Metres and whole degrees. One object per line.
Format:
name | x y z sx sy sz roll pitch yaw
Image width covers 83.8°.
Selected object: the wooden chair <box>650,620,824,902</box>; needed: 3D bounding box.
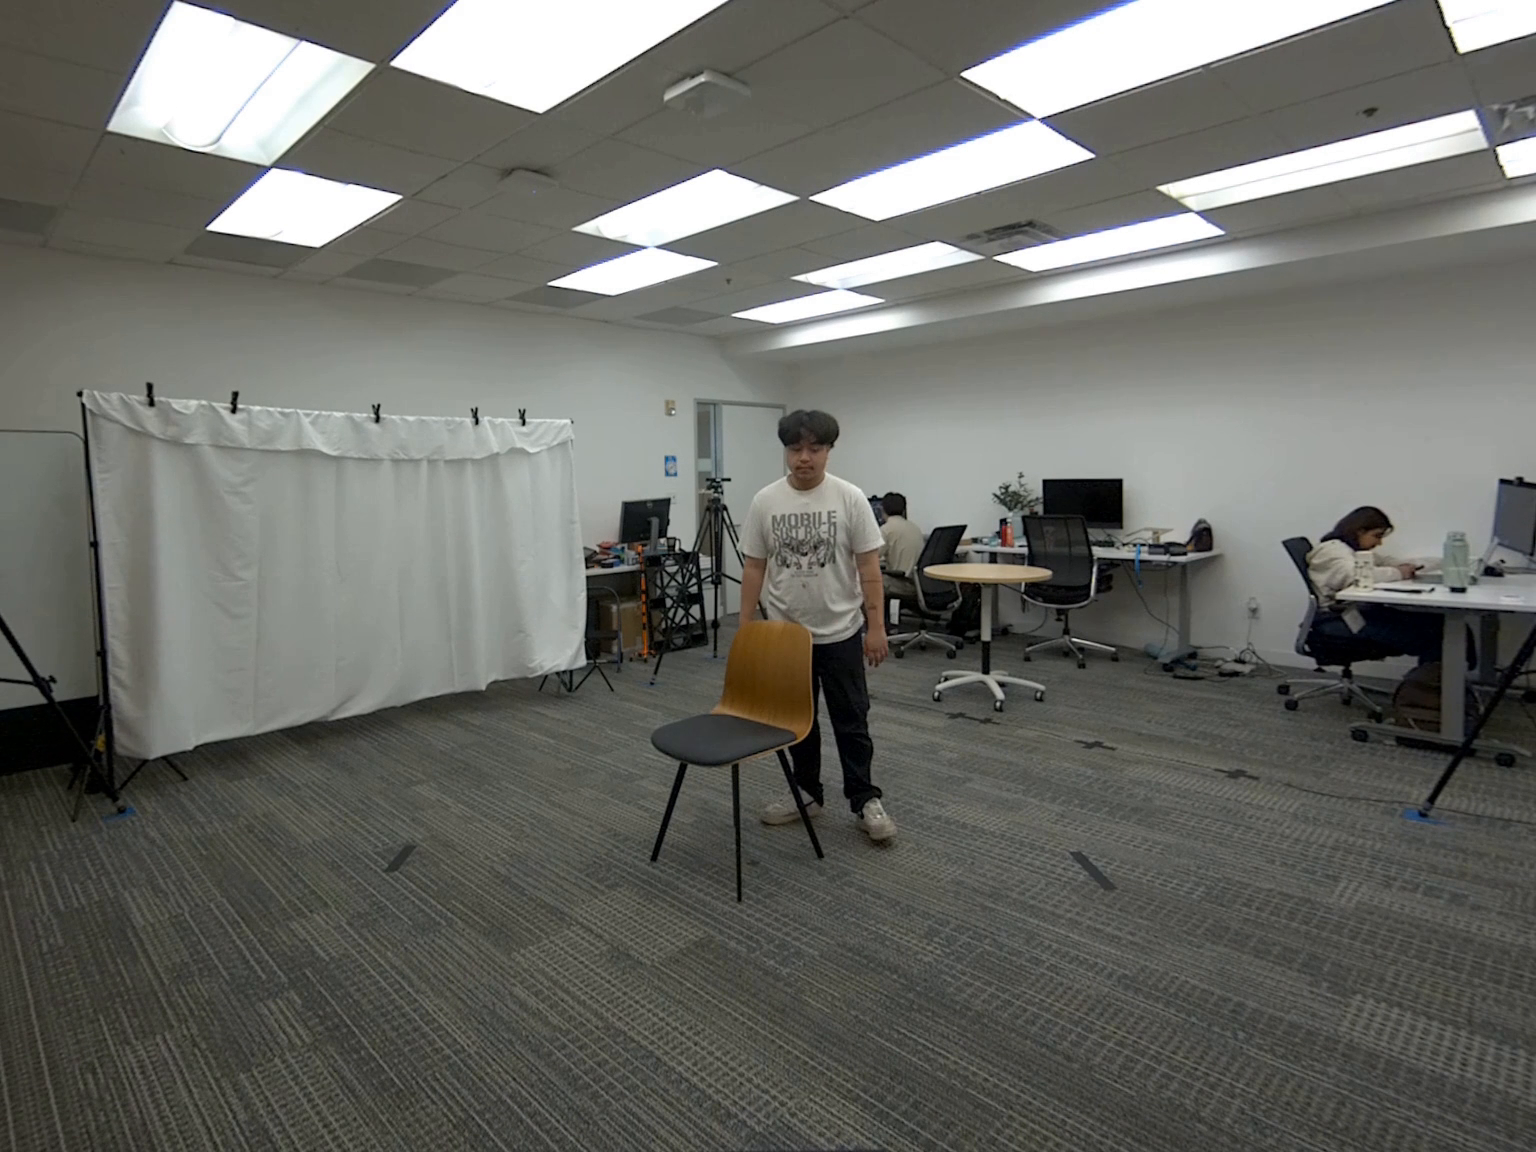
wooden chair | -0.123 0.616 3.093 0.493 0.876 0.508 3 2 43
